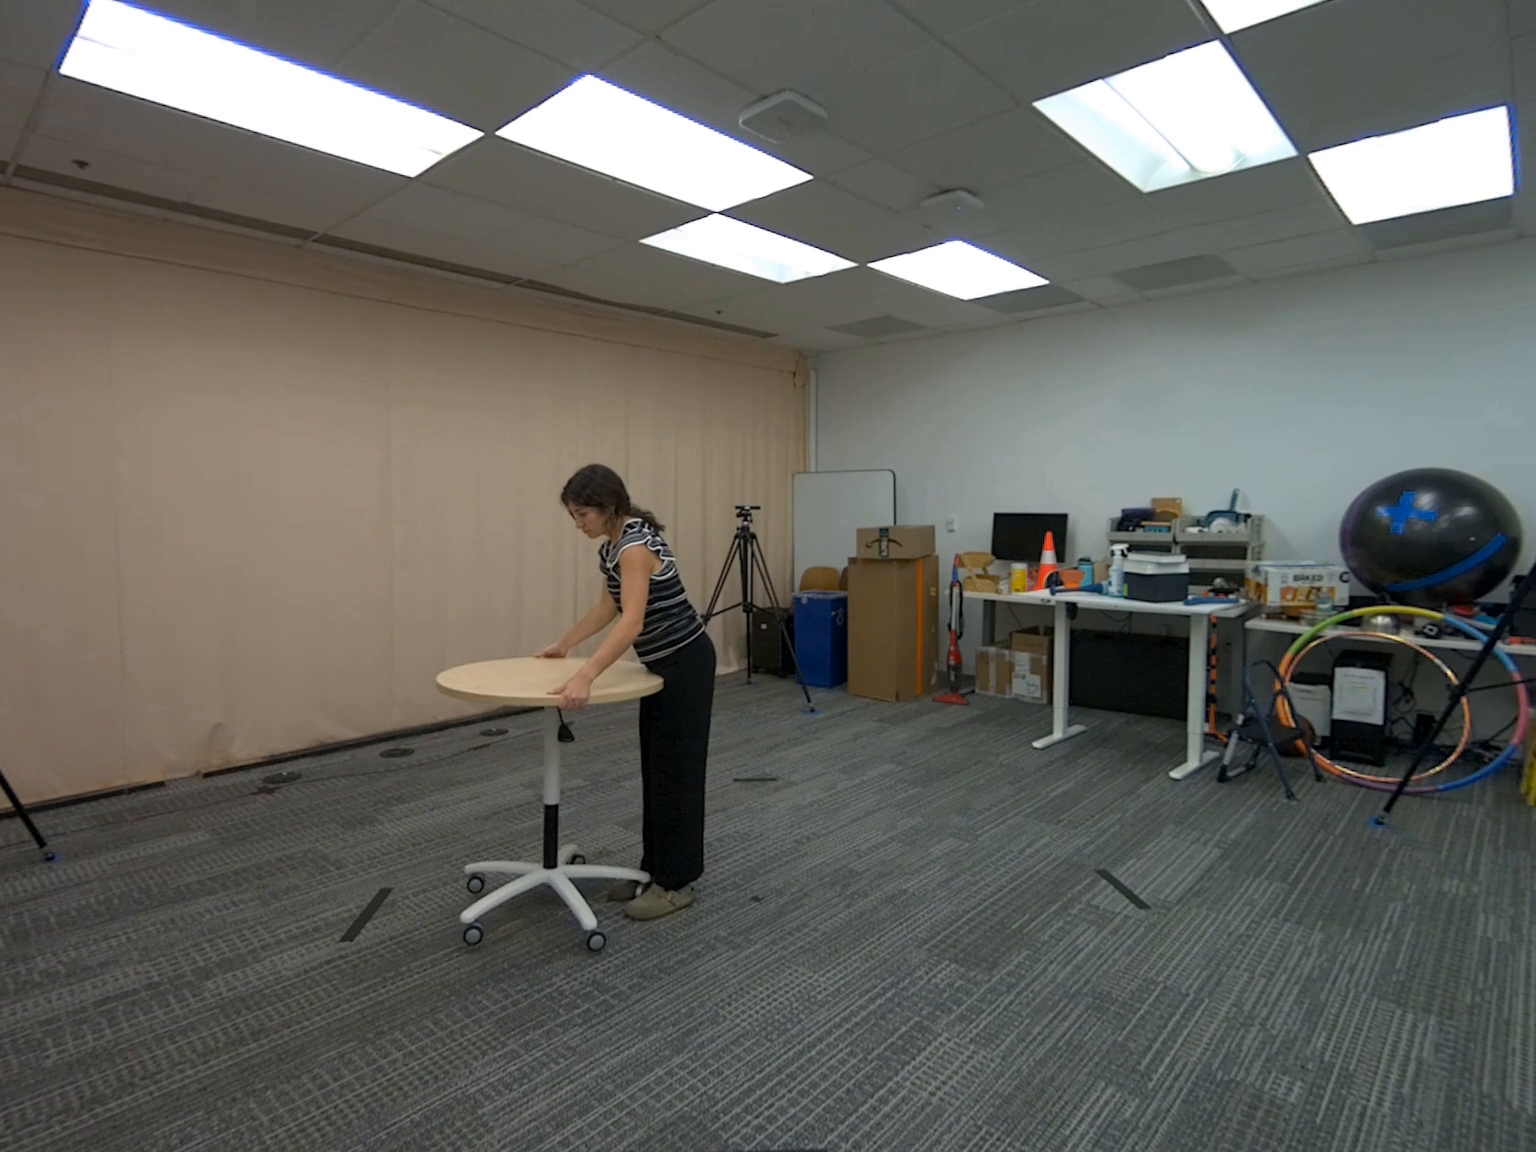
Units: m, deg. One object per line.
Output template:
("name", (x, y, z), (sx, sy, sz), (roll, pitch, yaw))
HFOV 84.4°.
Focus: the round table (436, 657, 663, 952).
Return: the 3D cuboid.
("round table", (-0.746, 0.746, 2.886), (0.763, 0.793, 0.766), (1, 2, -2))
